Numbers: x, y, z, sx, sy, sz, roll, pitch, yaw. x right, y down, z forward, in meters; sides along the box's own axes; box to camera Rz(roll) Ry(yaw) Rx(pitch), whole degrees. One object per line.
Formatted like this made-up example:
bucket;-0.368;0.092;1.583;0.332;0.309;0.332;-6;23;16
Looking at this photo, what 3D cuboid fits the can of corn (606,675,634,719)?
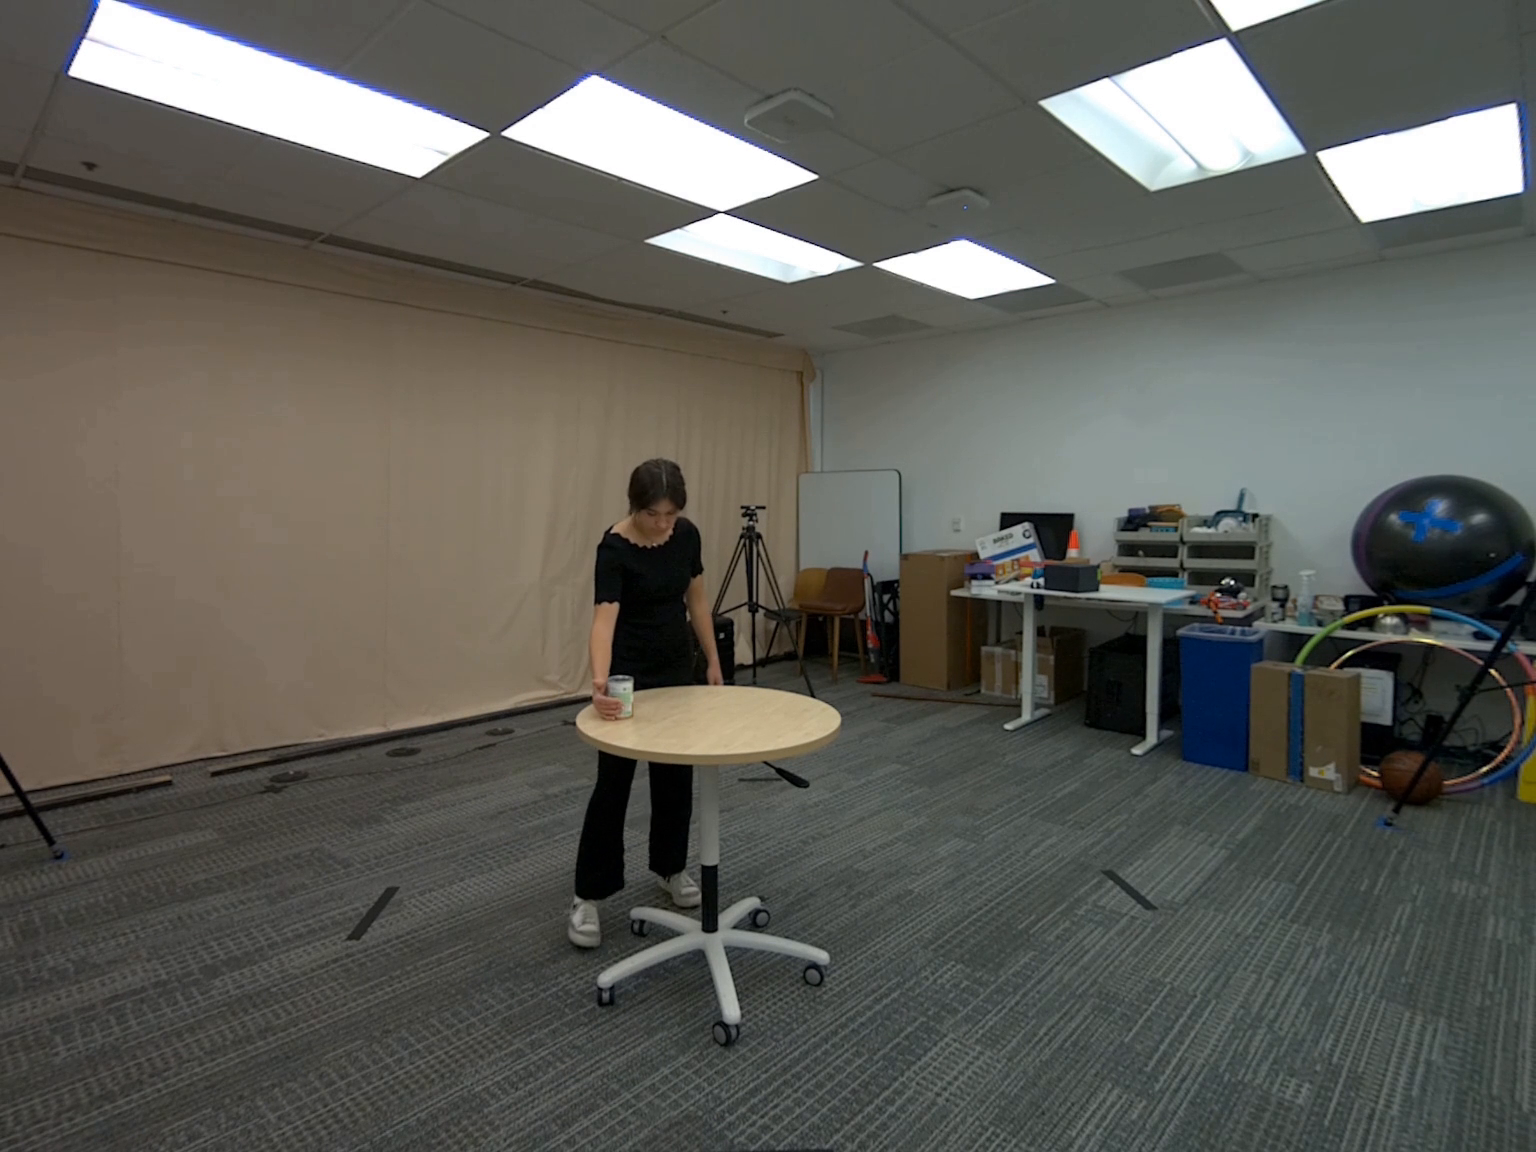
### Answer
can of corn;-0.436;0.355;2.424;0.074;0.111;0.074;-2;2;-2
